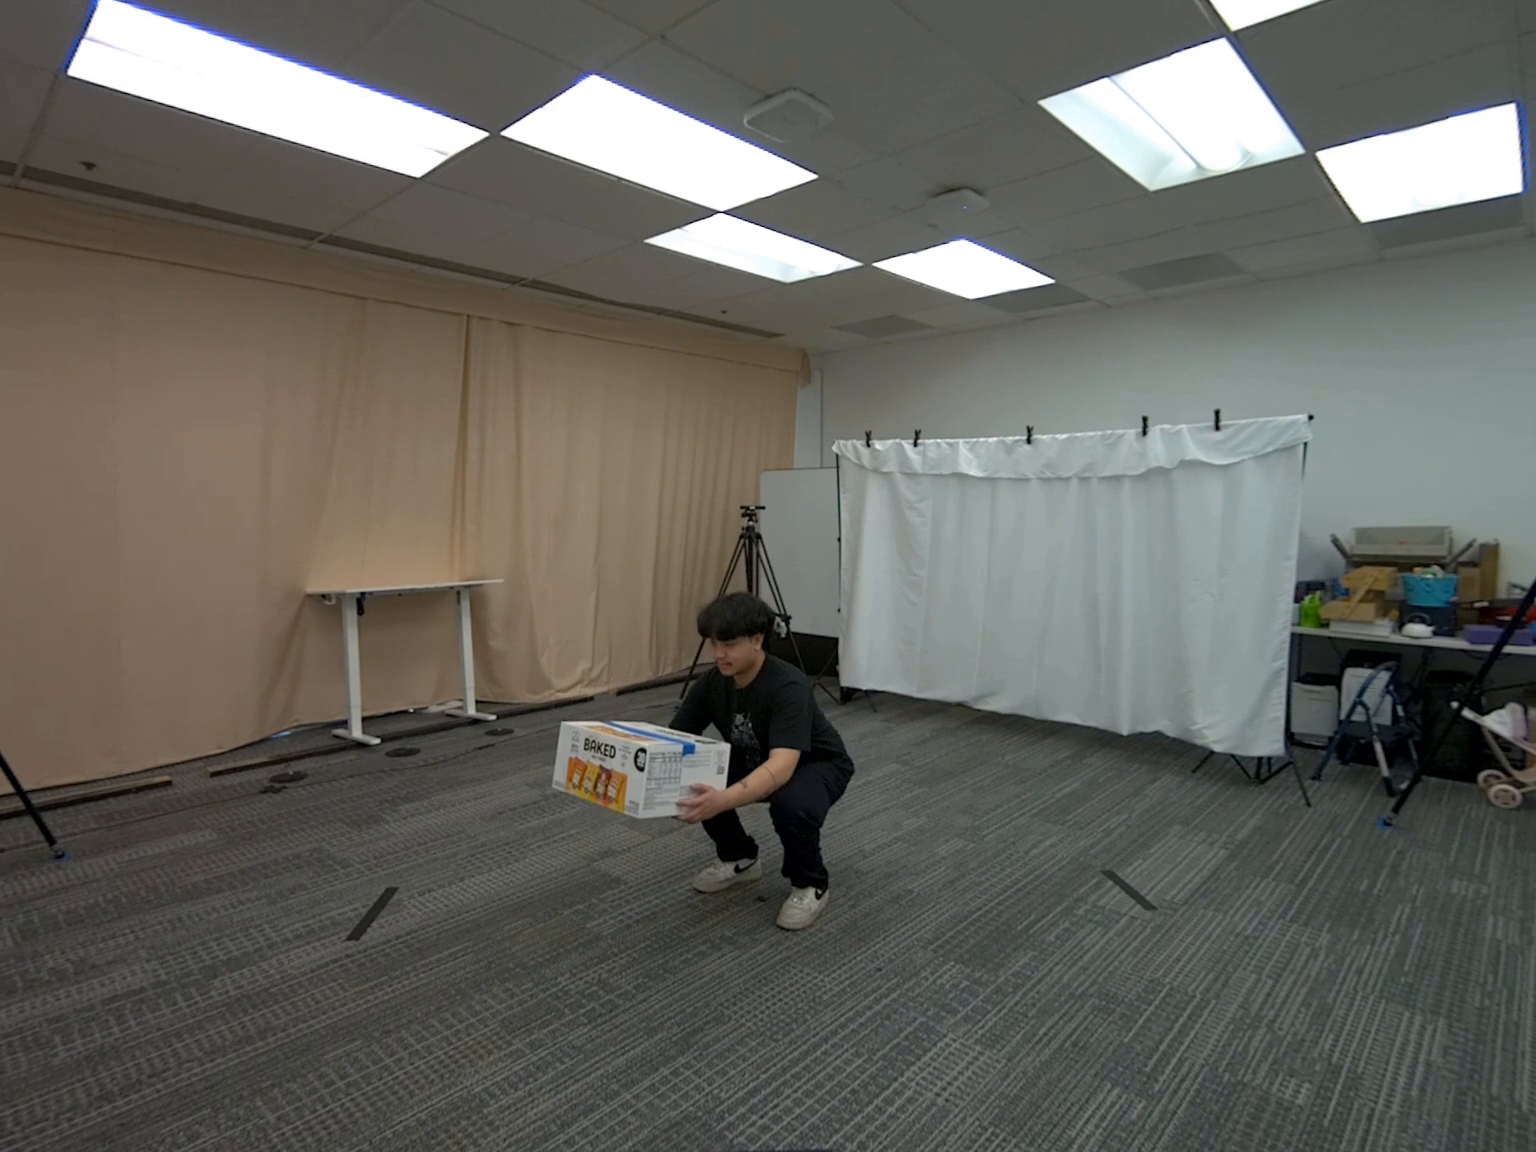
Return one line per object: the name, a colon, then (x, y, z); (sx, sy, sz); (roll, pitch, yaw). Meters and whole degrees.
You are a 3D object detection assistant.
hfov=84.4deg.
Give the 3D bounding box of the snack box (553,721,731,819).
snack box: (-0.382, 0.575, 2.560); (0.418, 0.206, 0.328); (3, -5, 42)
